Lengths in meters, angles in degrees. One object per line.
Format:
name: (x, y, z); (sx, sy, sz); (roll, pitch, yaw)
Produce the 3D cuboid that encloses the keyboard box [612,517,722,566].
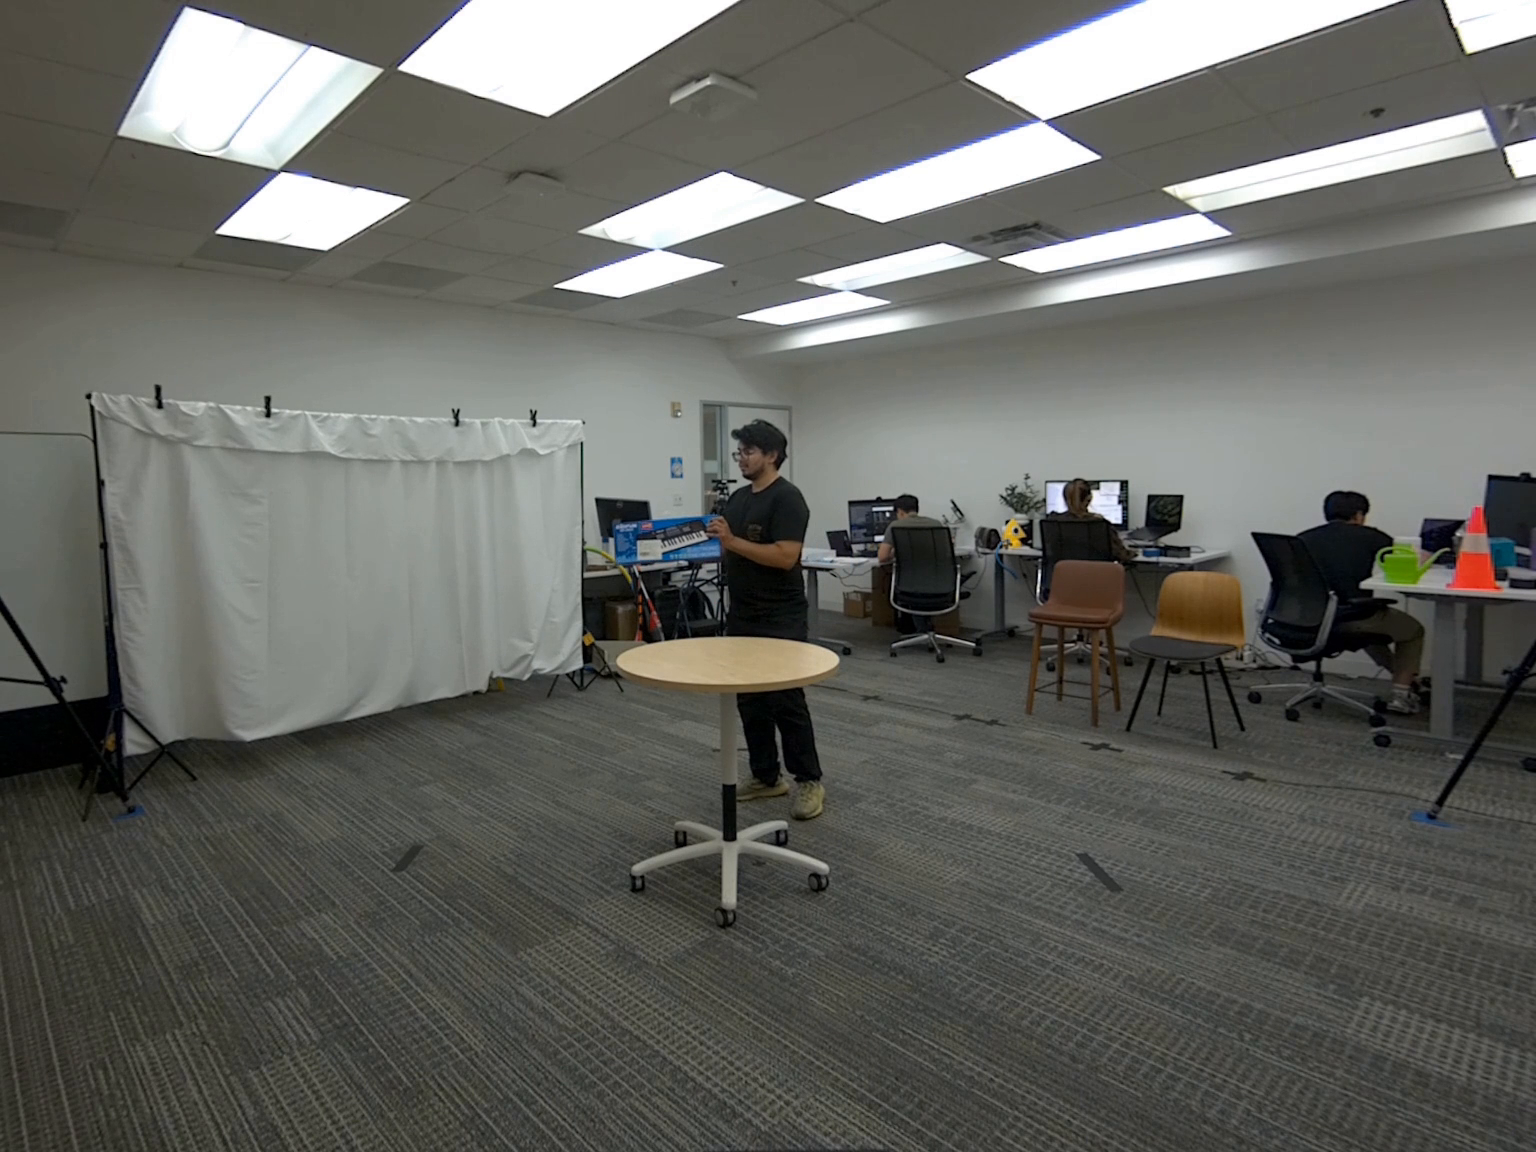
keyboard box: (-0.416, -0.143, 3.535); (0.438, 0.176, 0.059); (-3, -3, 3)
